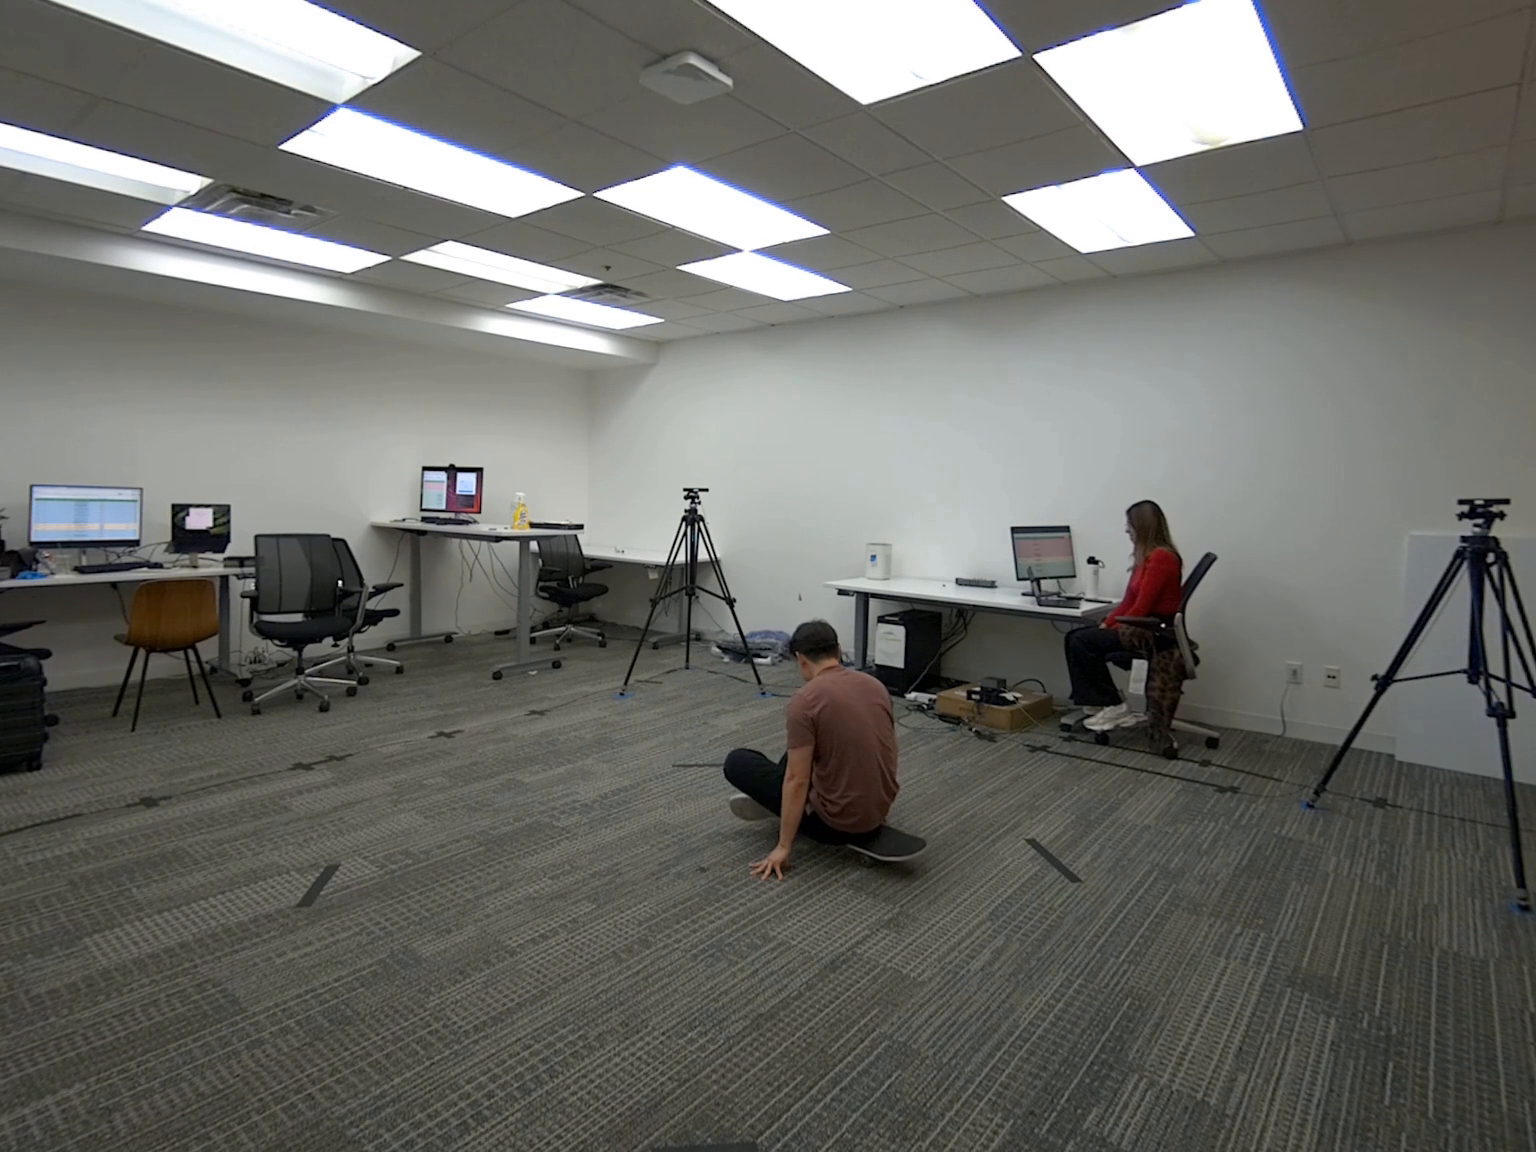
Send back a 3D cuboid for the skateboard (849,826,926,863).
[{"bbox_3d":[0.275,0.999,3.367,0.189,0.109,0.814,-15,17,-39],"label":"skateboard"}]
